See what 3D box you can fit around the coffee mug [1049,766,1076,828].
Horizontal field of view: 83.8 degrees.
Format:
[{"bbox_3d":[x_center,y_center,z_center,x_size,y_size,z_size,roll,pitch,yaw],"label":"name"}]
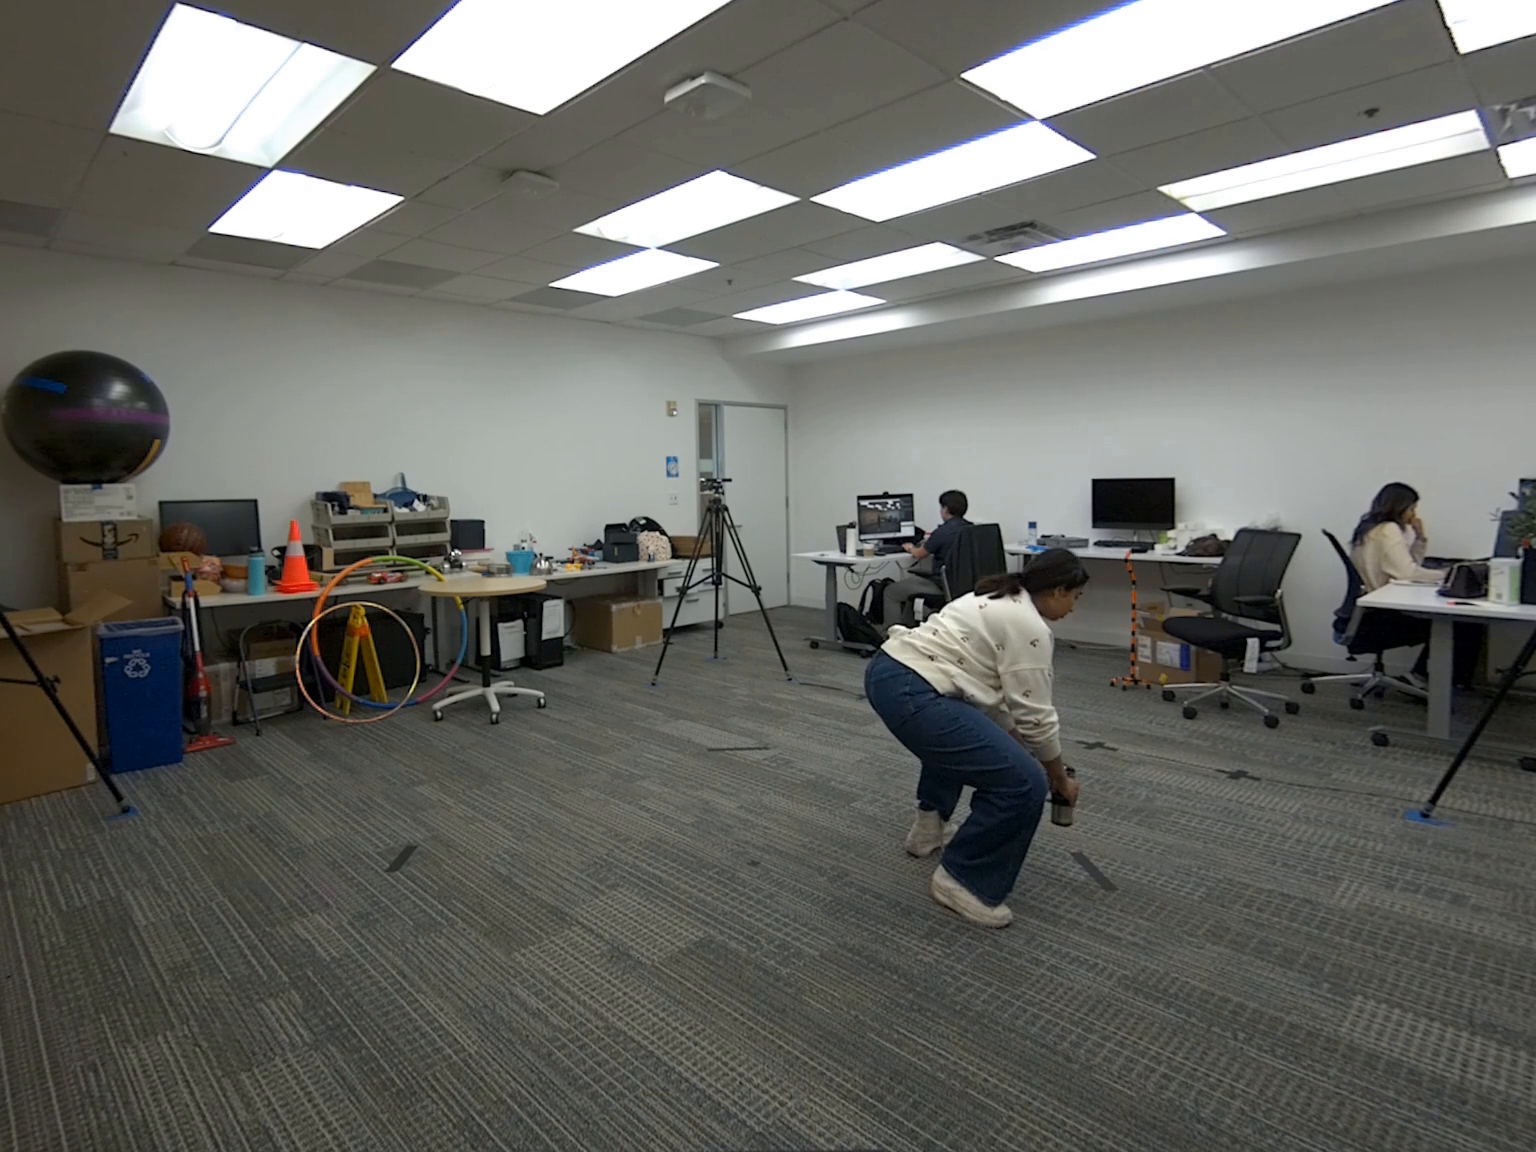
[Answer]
[{"bbox_3d":[1.053,0.766,3.000,0.119,0.202,0.090,-11,4,-32],"label":"coffee mug"}]
